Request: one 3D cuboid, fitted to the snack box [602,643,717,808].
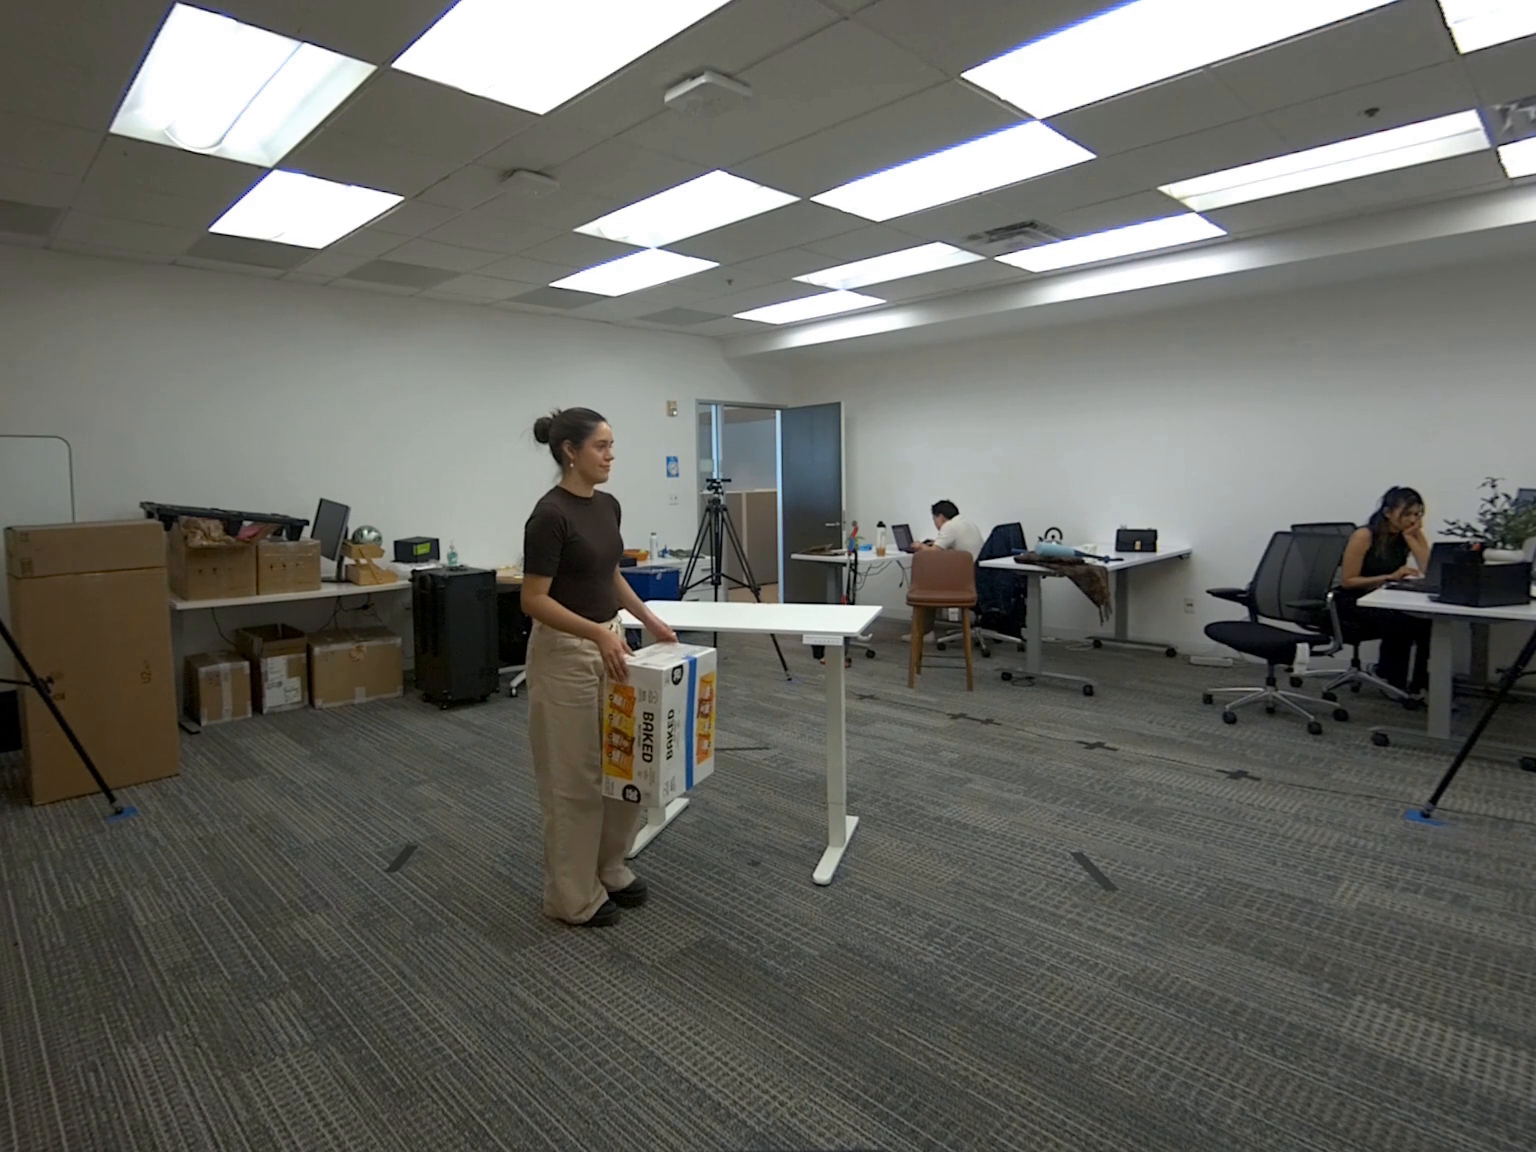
[{"bbox_3d":[-0.326,0.438,2.602,0.210,0.404,0.333,4,5,24],"label":"snack box"}]
